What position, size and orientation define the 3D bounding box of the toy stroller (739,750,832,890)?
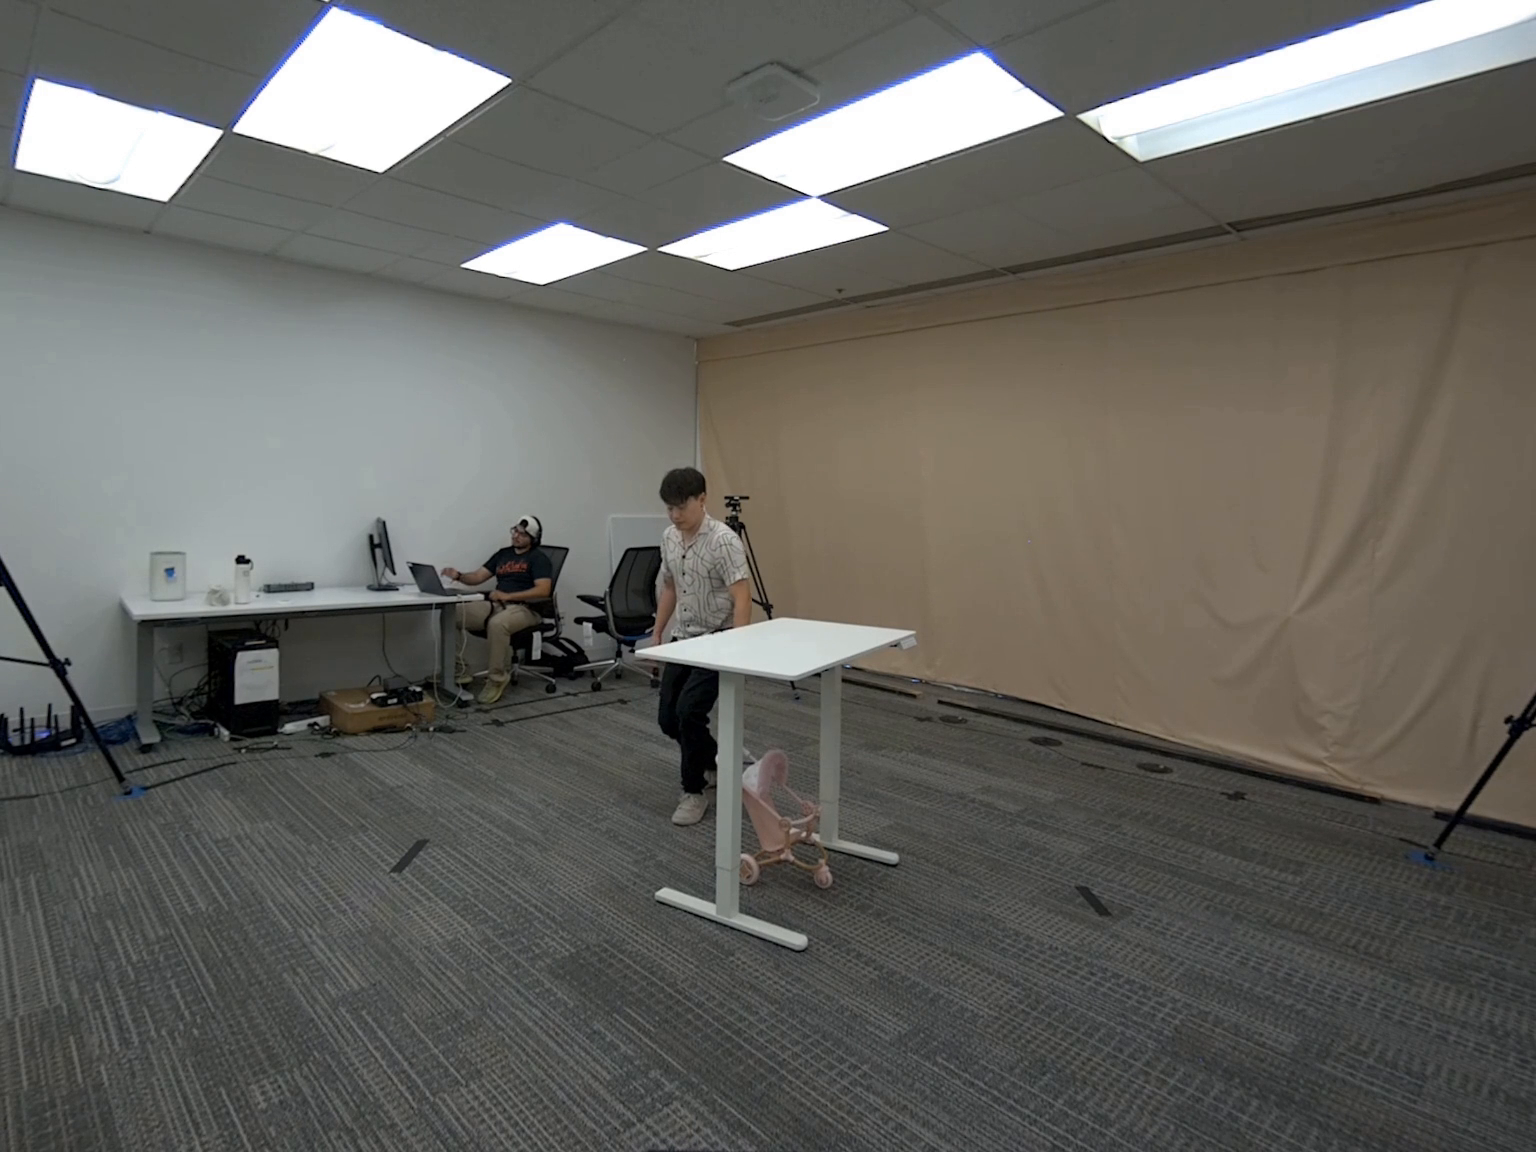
[{"bbox_3d":[0.021,0.882,3.097,0.346,0.538,0.275,-16,-7,34],"label":"toy stroller"}]
